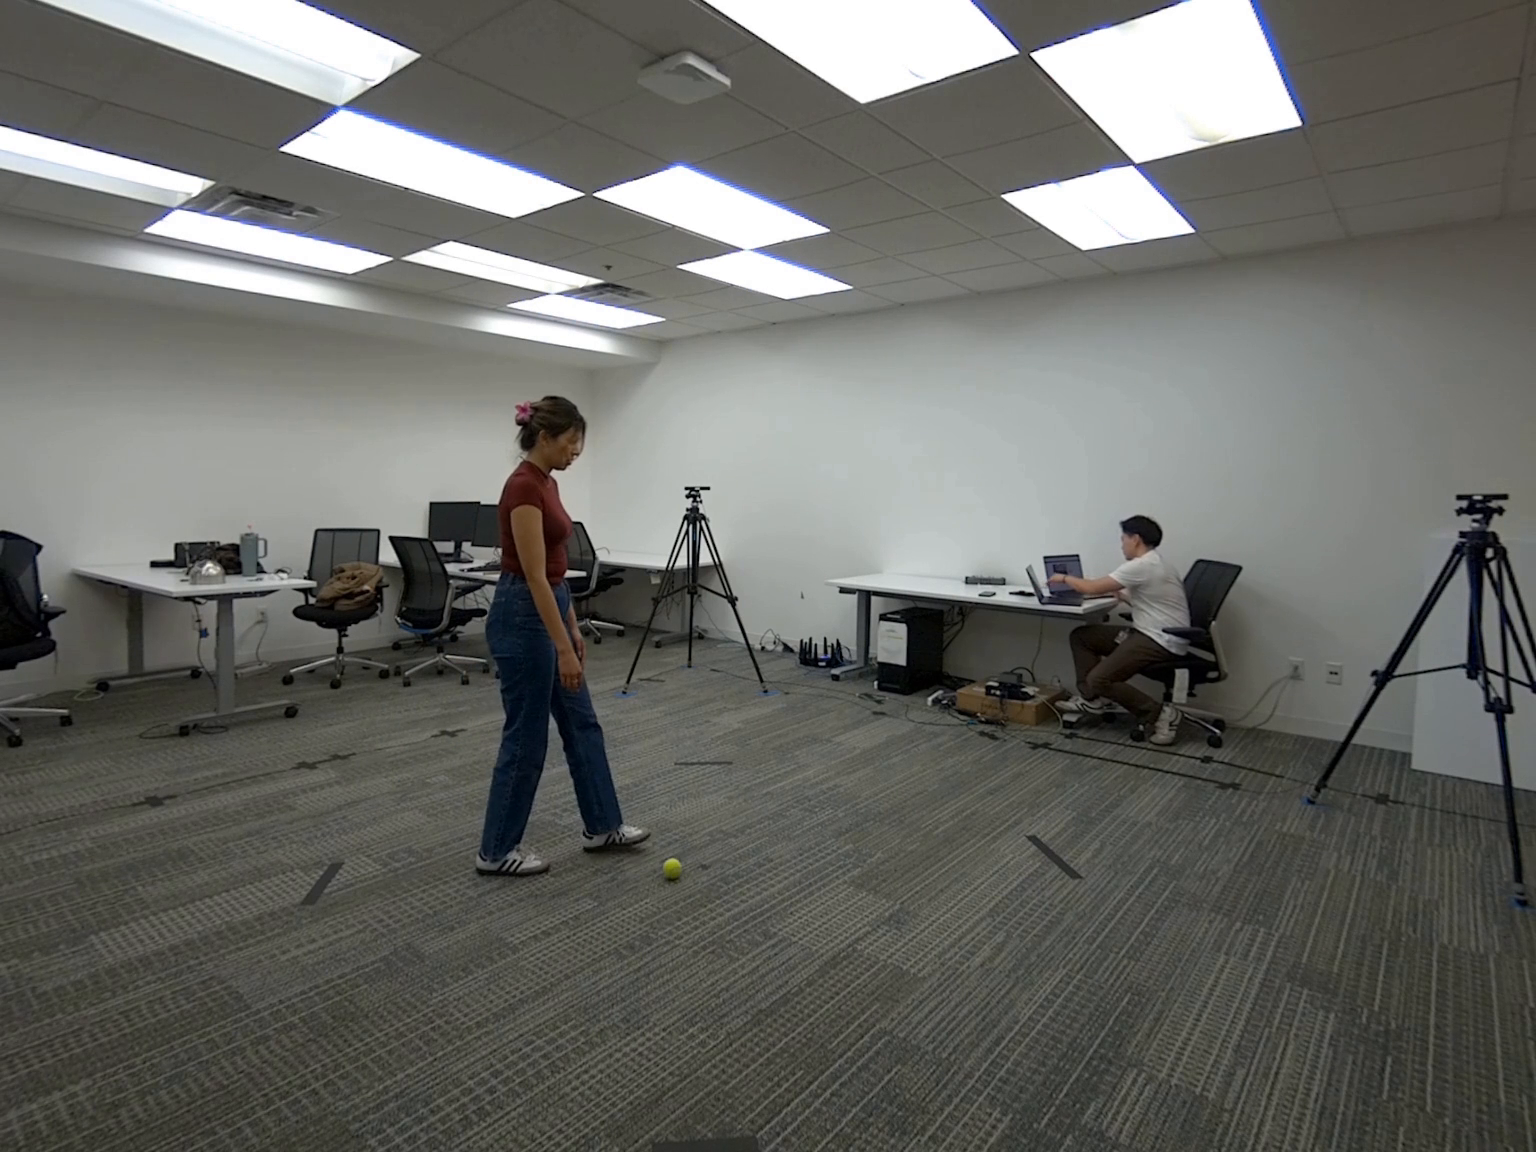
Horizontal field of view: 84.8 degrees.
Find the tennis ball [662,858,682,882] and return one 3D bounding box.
[{"bbox_3d":[-0.344,1.022,3.017,0.066,0.066,0.067,1,4,-2],"label":"tennis ball"}]
